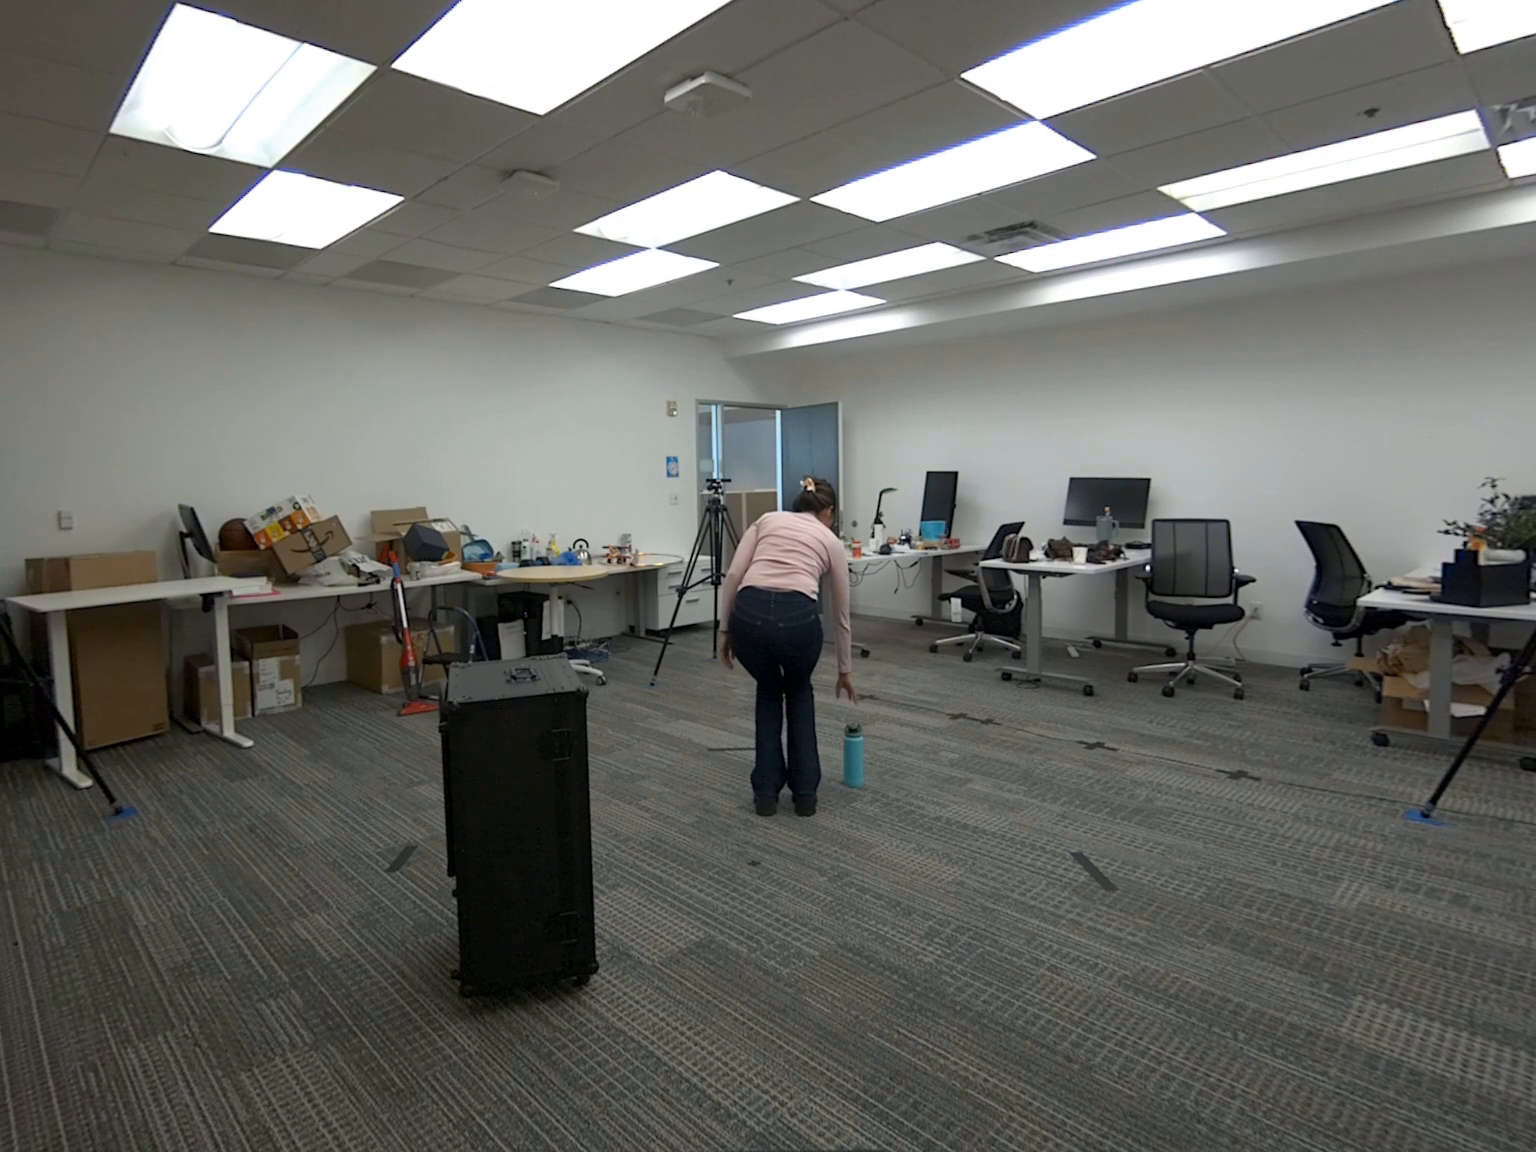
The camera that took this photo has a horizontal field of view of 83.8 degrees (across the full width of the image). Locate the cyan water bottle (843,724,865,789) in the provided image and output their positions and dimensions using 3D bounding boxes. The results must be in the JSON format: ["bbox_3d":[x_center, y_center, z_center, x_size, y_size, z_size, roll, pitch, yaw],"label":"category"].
[{"bbox_3d":[0.390,0.810,3.893,0.092,0.283,0.092,0,2,-2],"label":"cyan water bottle"}]
